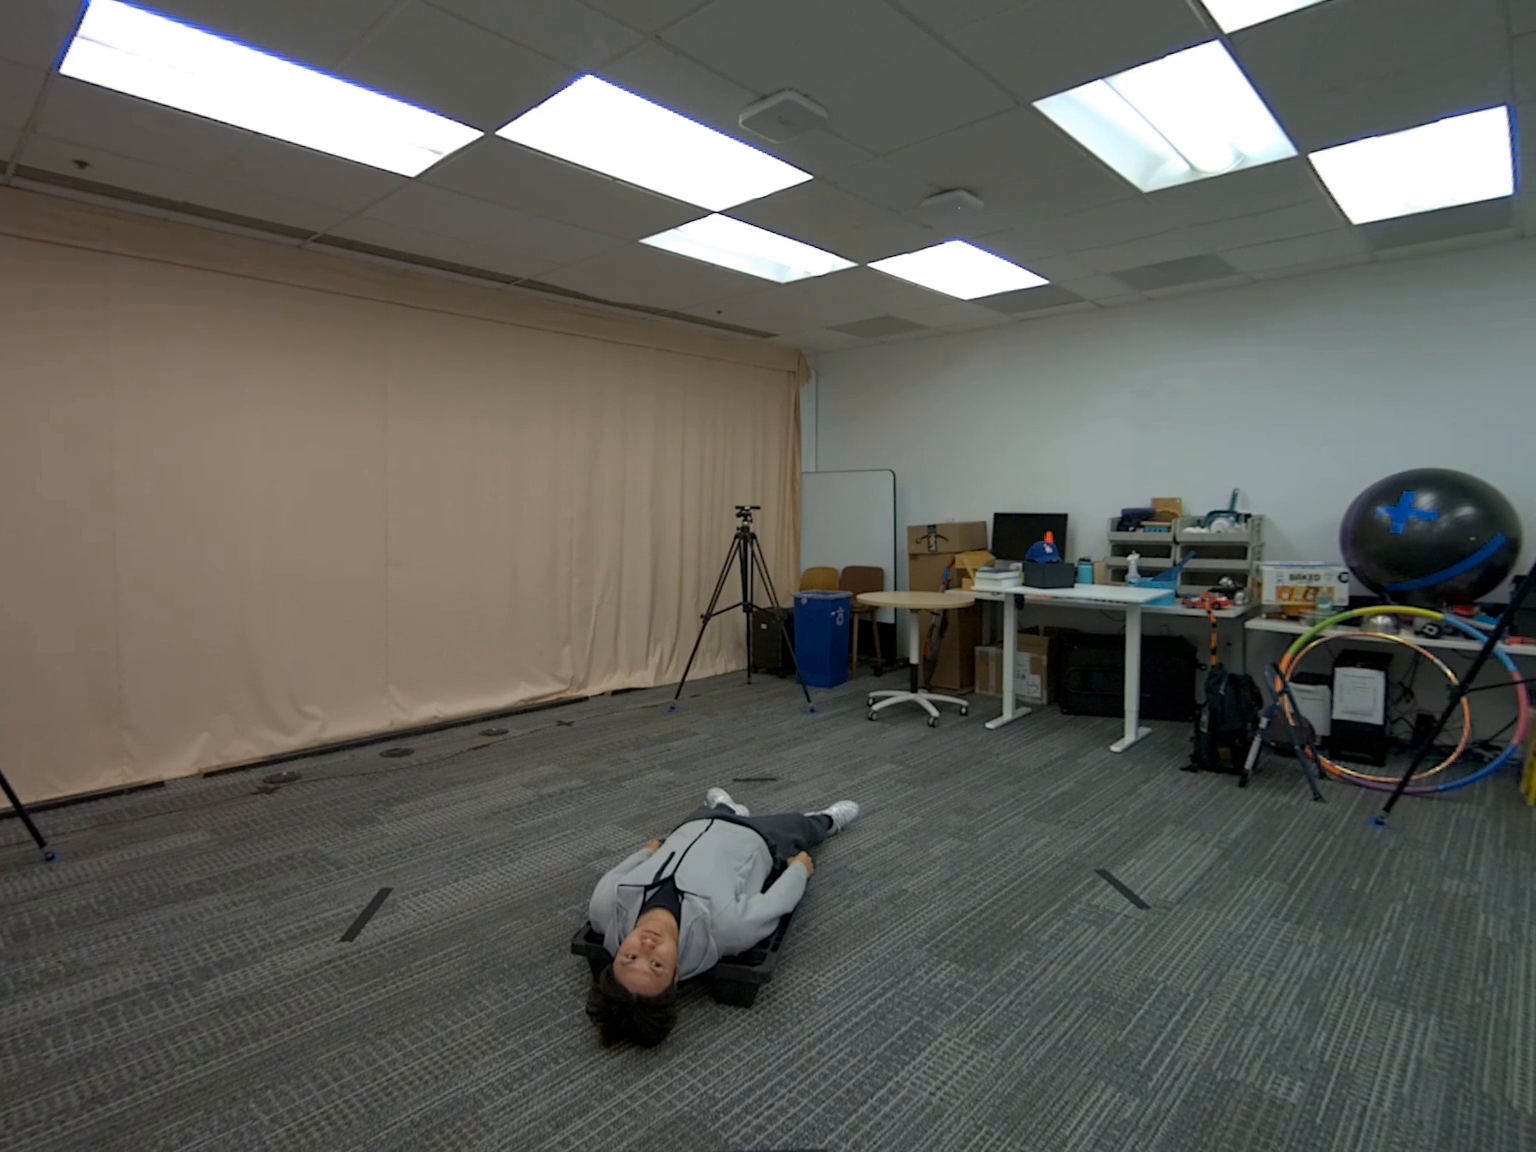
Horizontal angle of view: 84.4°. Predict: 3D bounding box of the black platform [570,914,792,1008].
[{"bbox_3d":[-0.198,1.082,2.737,0.616,0.143,0.794,4,7,16],"label":"black platform"}]
